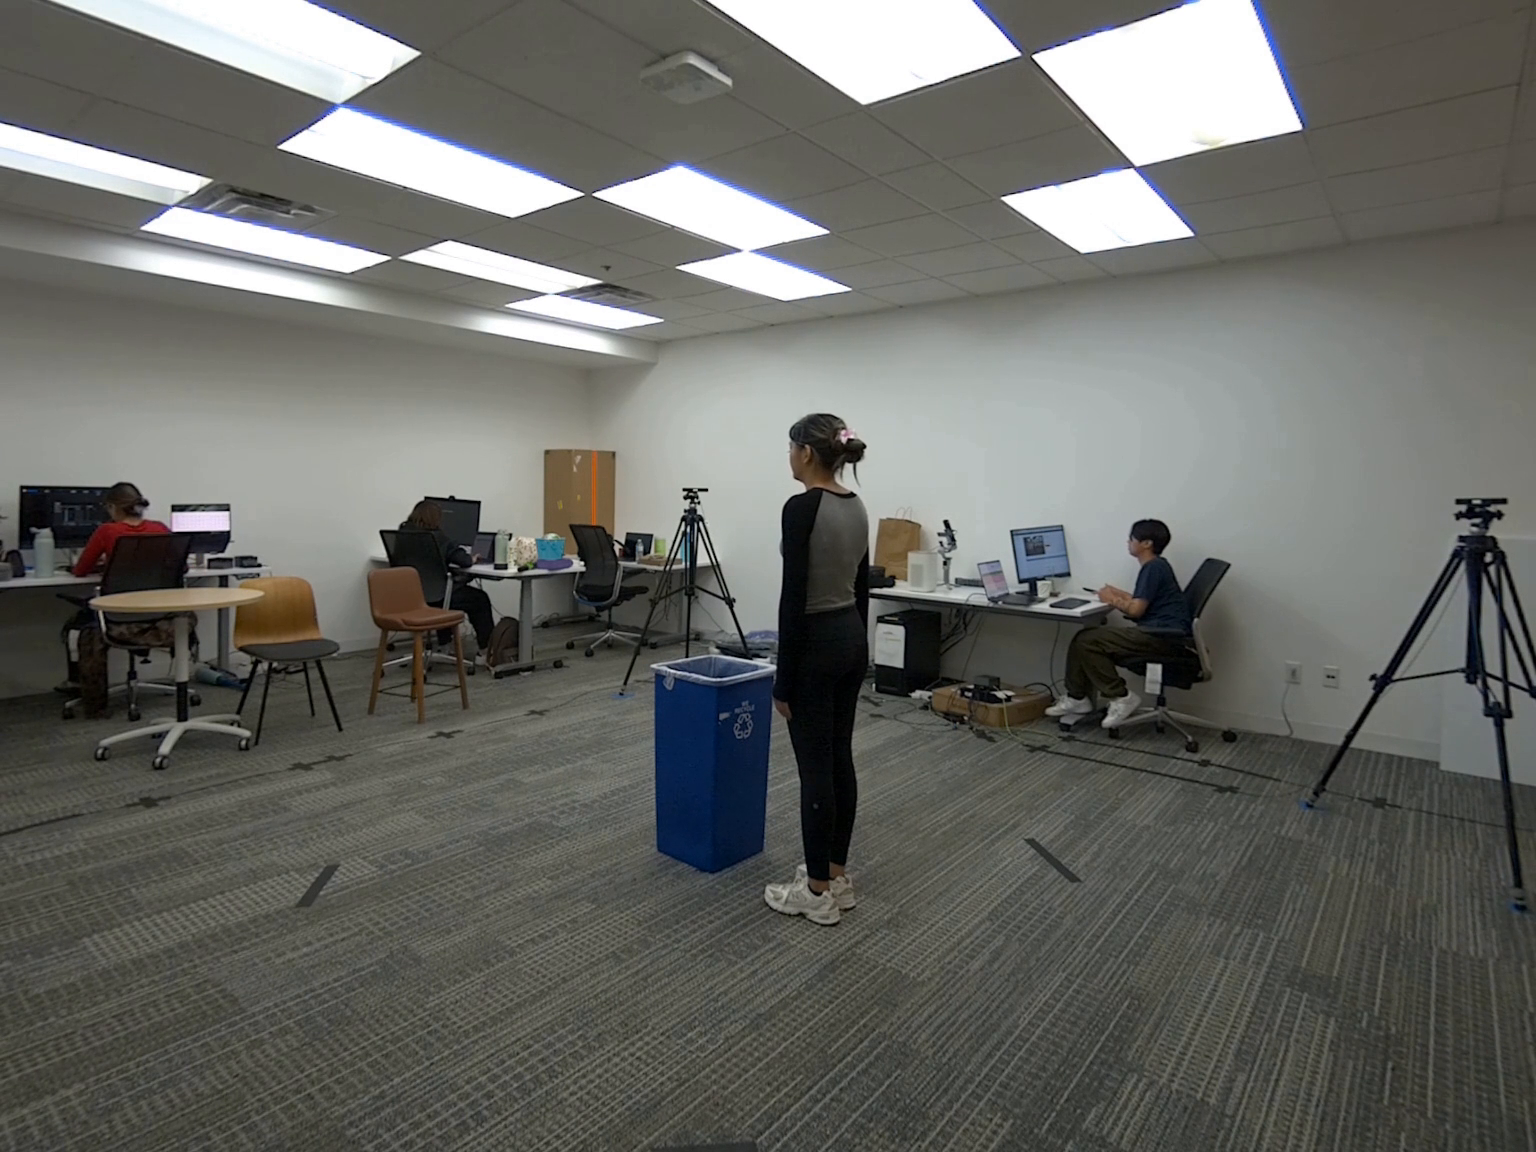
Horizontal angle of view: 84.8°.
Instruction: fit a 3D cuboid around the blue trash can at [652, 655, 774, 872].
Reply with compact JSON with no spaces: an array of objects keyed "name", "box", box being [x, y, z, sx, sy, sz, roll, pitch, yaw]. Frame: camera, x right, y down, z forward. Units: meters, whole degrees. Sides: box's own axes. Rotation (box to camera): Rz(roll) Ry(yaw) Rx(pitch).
[{"name":"blue trash can","box":[-0.221,0.696,3.266,0.391,0.711,0.363,4,4,41]}]
